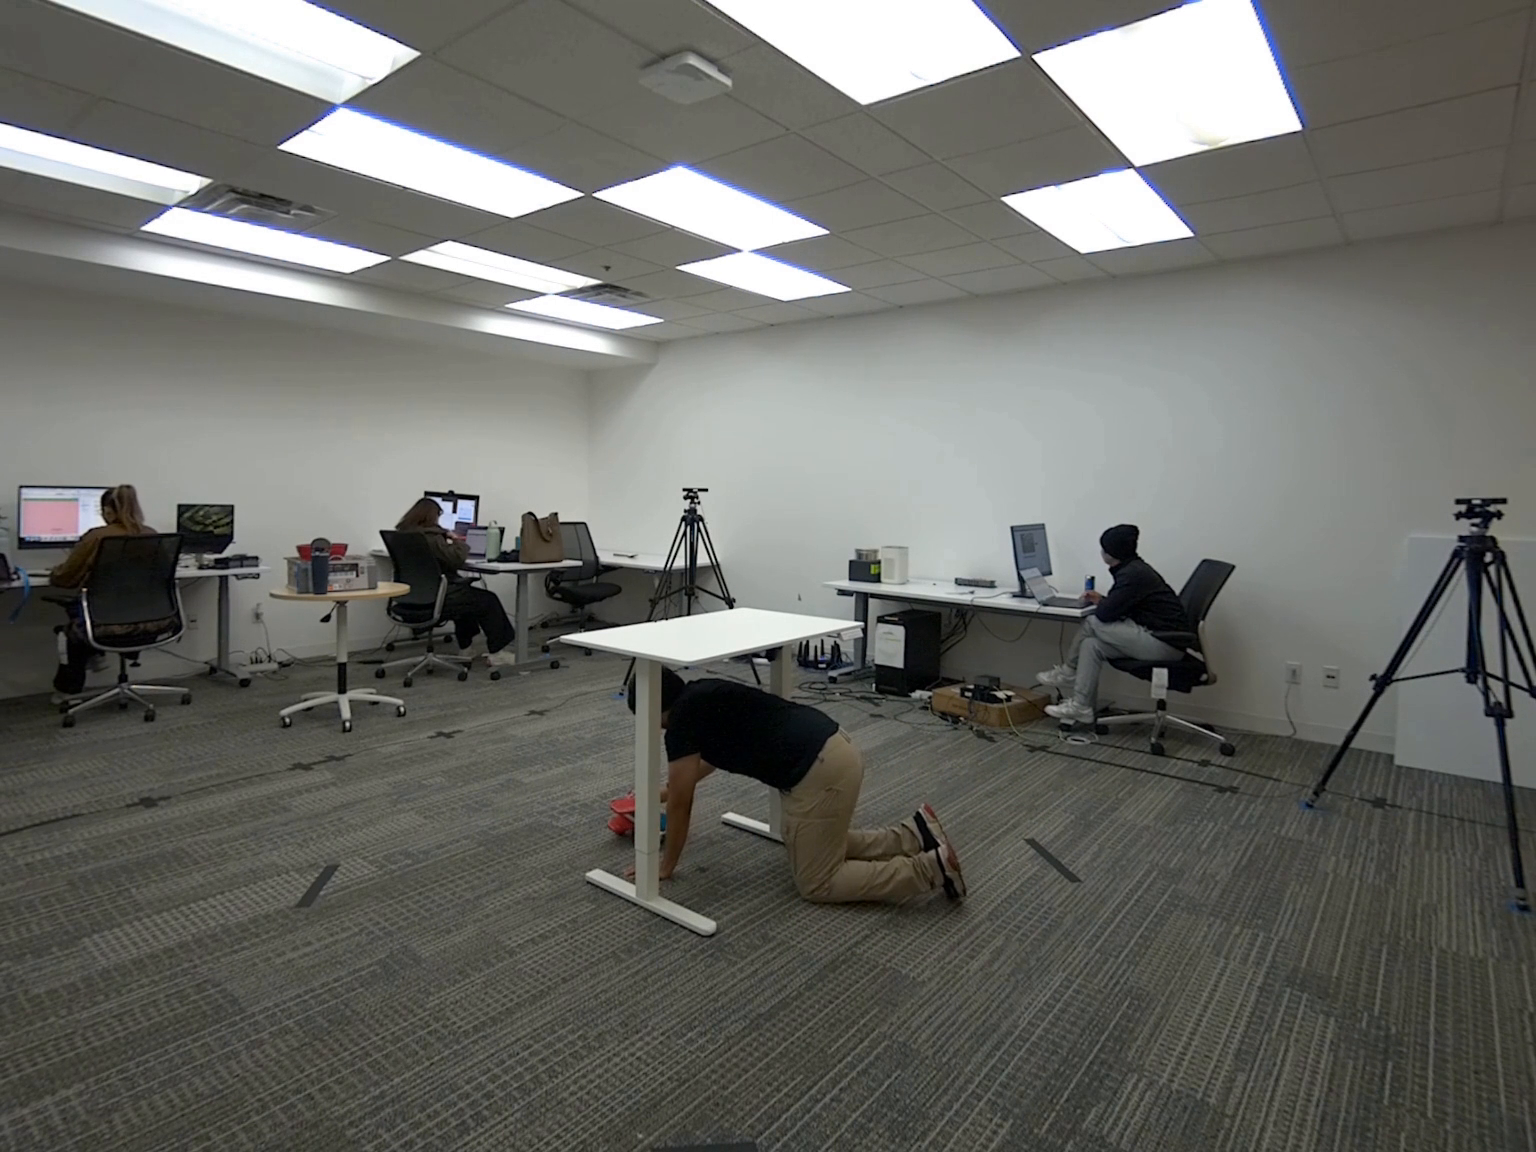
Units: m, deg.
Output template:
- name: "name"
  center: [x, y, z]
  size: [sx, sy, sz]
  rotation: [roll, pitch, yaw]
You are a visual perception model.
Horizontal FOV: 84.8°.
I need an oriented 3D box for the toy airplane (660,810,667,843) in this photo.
- name: "toy airplane"
  center: [-0.500, 0.956, 3.401]
  size: [0.263, 0.156, 0.249]
  rotation: [1, 5, 12]
